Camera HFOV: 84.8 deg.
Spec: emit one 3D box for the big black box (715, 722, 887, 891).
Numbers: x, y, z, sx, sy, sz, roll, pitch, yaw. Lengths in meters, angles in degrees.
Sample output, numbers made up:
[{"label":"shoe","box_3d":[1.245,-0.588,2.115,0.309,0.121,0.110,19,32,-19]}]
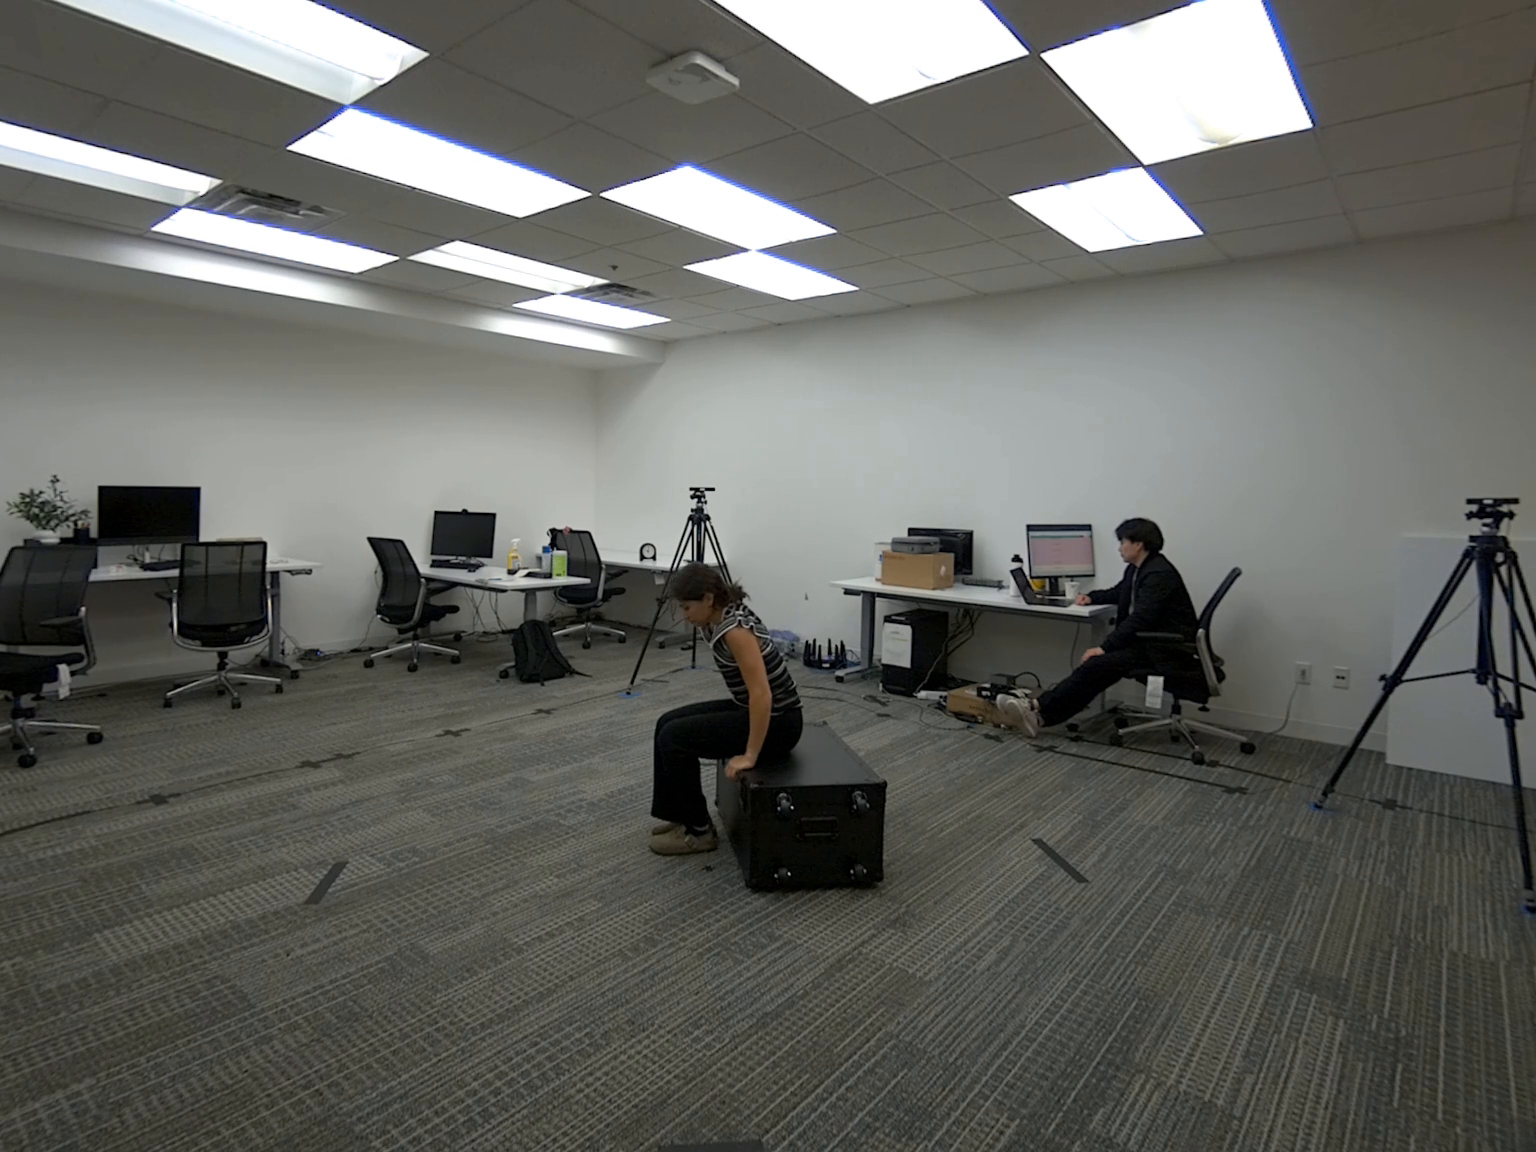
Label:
[{"label":"big black box","box_3d":[0.091,0.861,3.286,0.515,0.395,0.875,-1,5,-12]}]
